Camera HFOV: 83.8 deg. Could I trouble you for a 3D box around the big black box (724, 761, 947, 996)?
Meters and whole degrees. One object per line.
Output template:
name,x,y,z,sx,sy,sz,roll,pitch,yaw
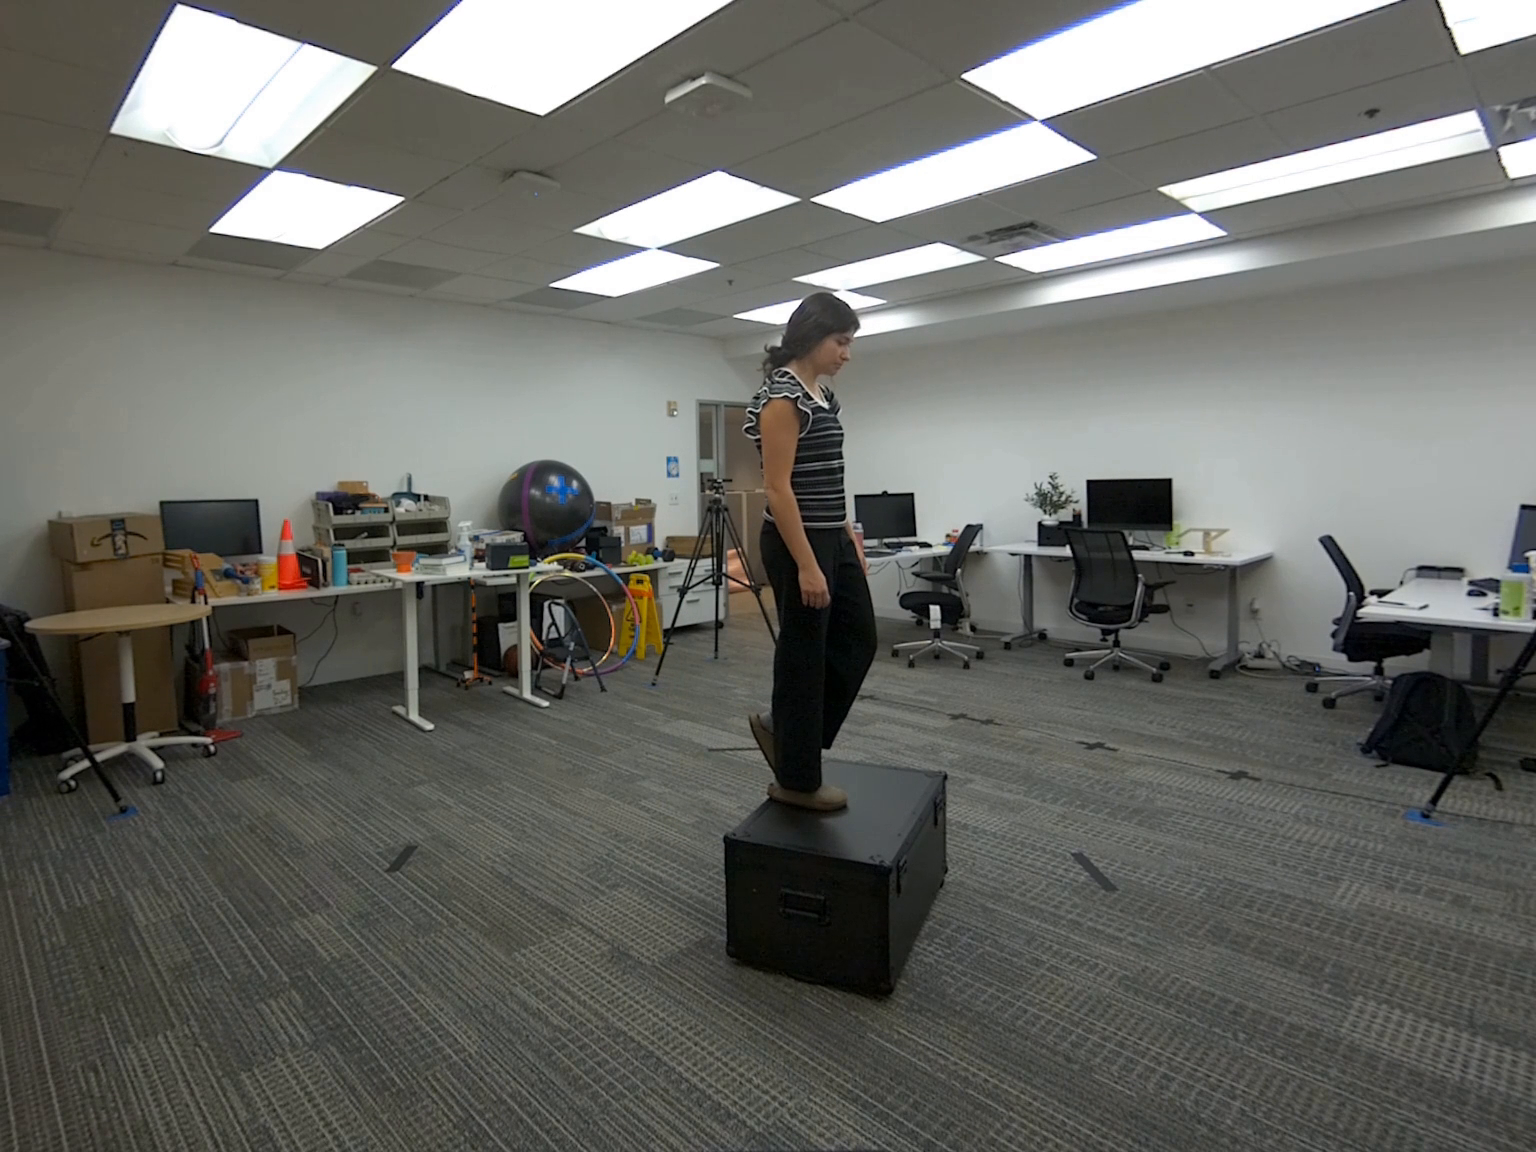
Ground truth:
big black box,0.264,0.891,2.729,0.533,0.394,0.847,0,7,23
